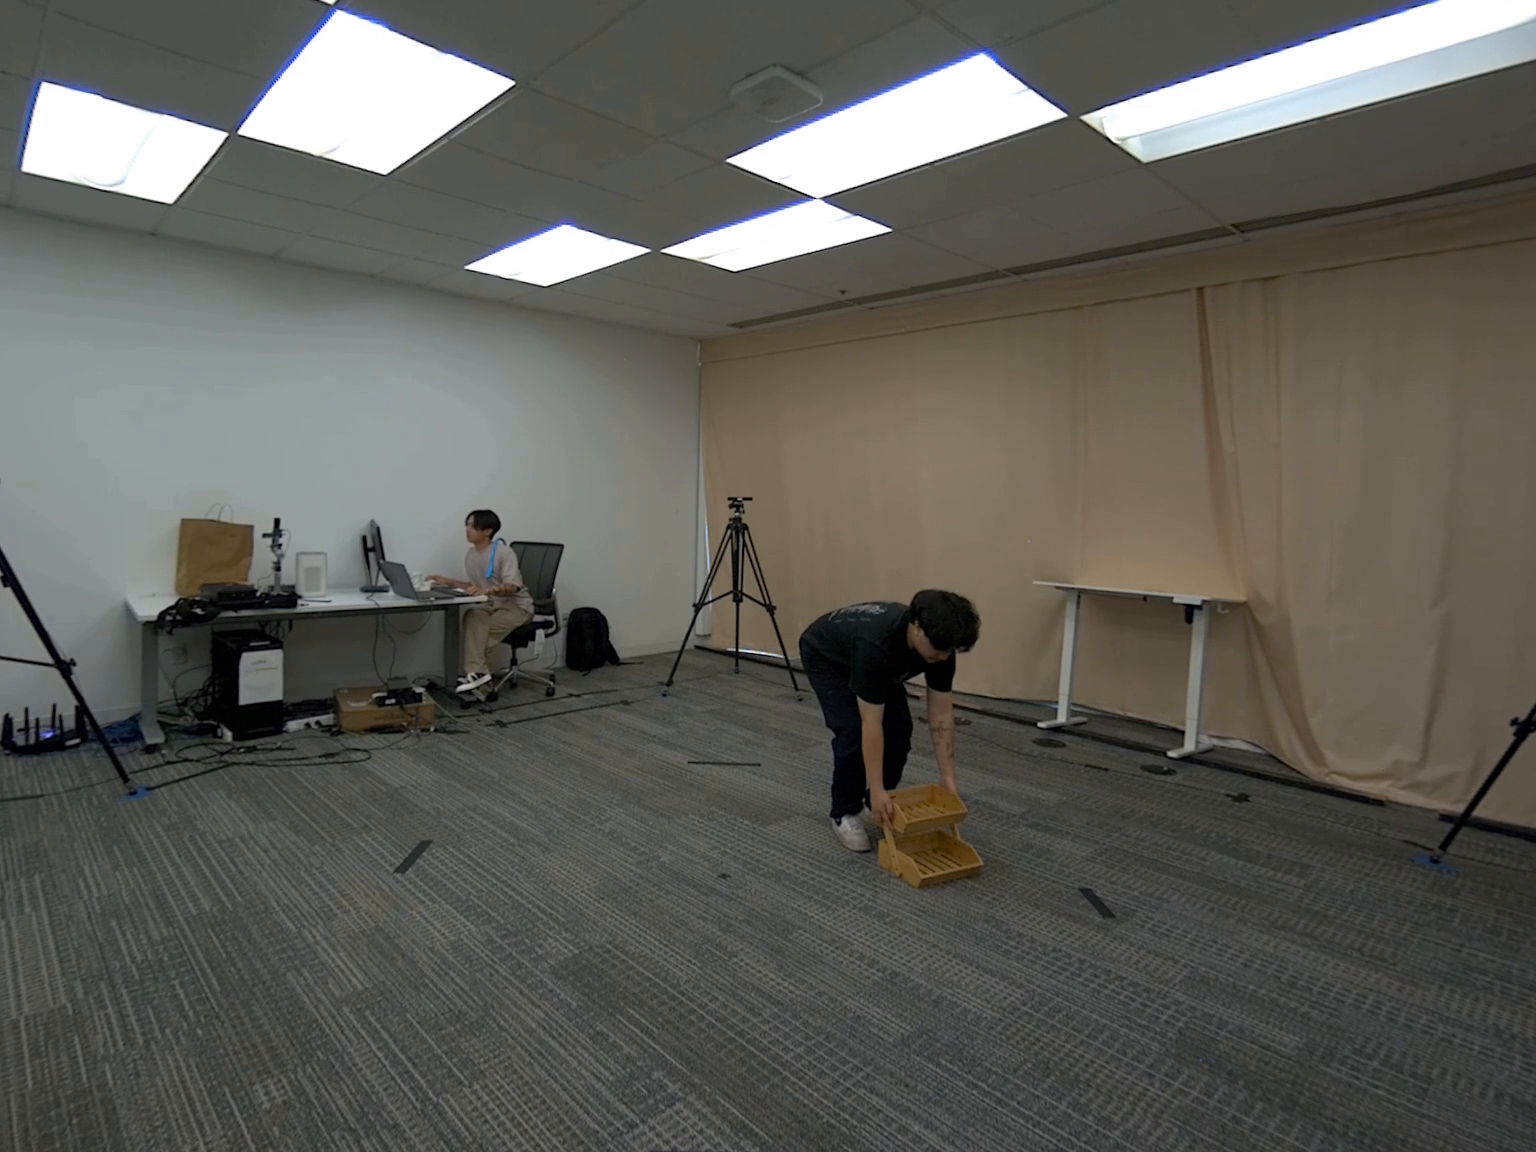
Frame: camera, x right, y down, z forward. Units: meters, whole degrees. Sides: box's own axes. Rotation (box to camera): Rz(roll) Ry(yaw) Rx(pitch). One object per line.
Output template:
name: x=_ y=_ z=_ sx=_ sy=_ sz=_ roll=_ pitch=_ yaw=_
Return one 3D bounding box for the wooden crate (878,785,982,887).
wooden crate: x=0.599 y=0.987 z=3.220 sx=0.318 sy=0.273 sz=0.309 roll=0 pitch=4 yaw=-29
